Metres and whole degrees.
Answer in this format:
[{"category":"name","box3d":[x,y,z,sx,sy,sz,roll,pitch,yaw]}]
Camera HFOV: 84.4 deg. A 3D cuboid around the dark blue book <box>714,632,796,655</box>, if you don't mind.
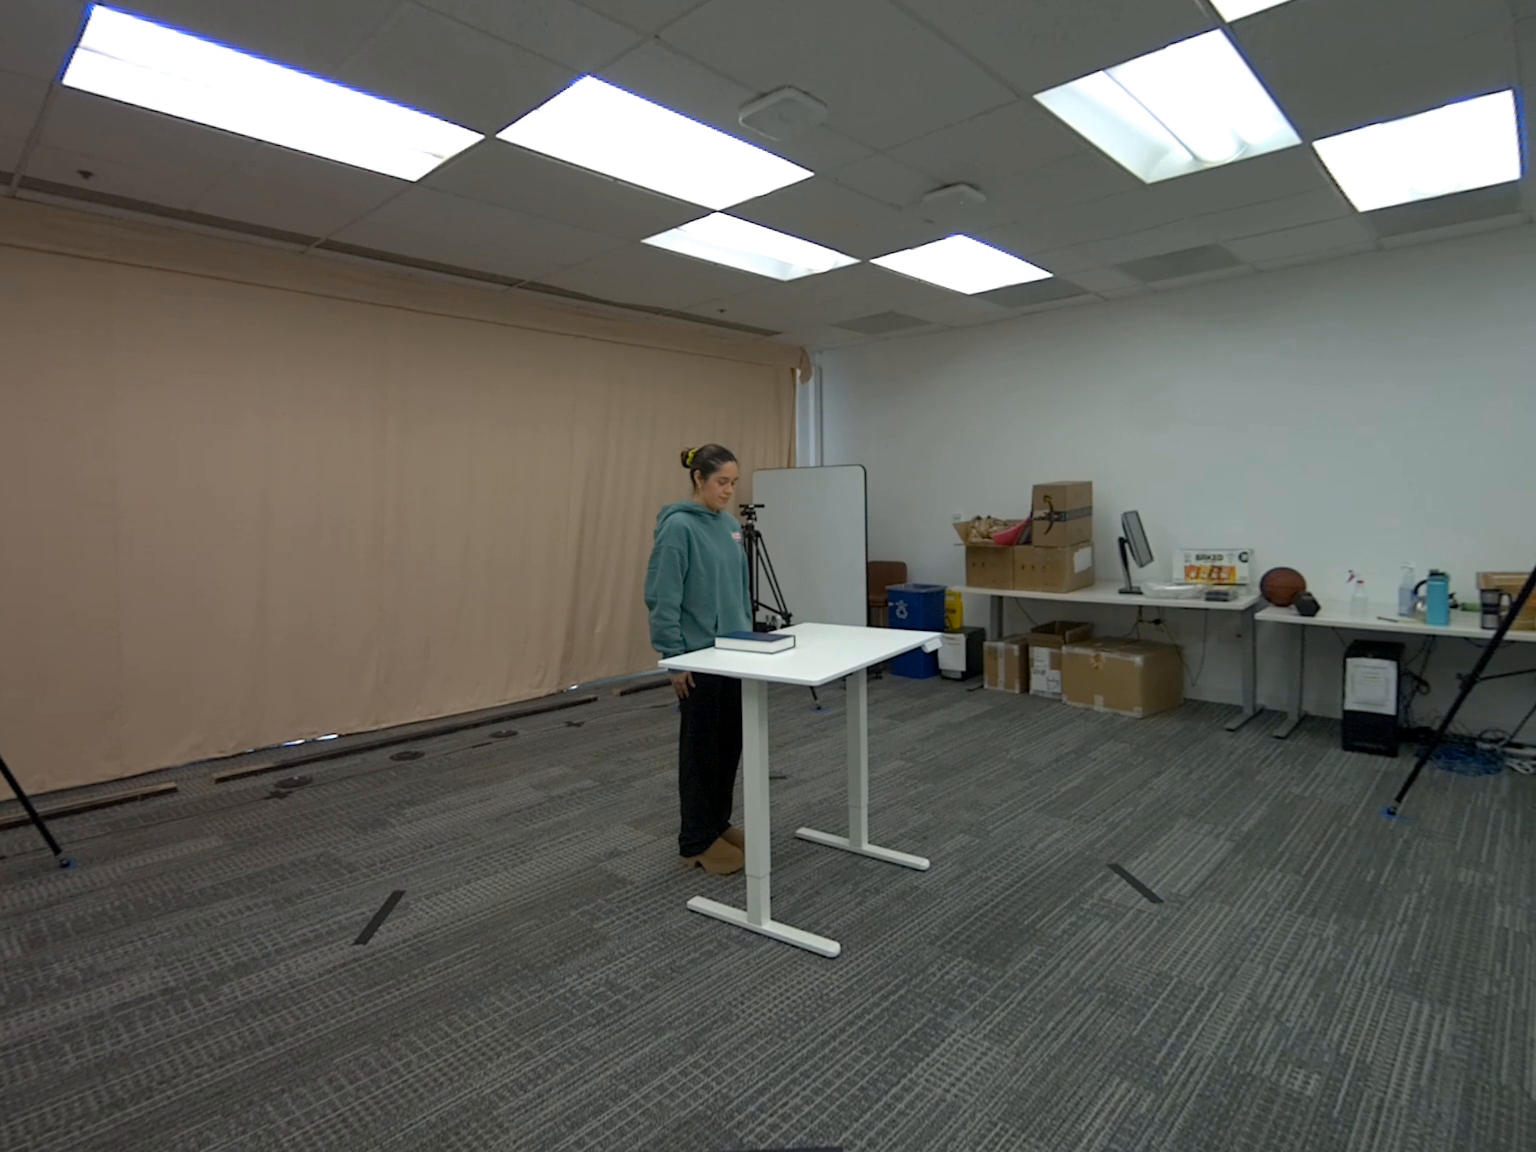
[{"category":"dark blue book","box3d":[-0.041,0.236,3.007,0.252,0.045,0.159,2,6,33]}]
